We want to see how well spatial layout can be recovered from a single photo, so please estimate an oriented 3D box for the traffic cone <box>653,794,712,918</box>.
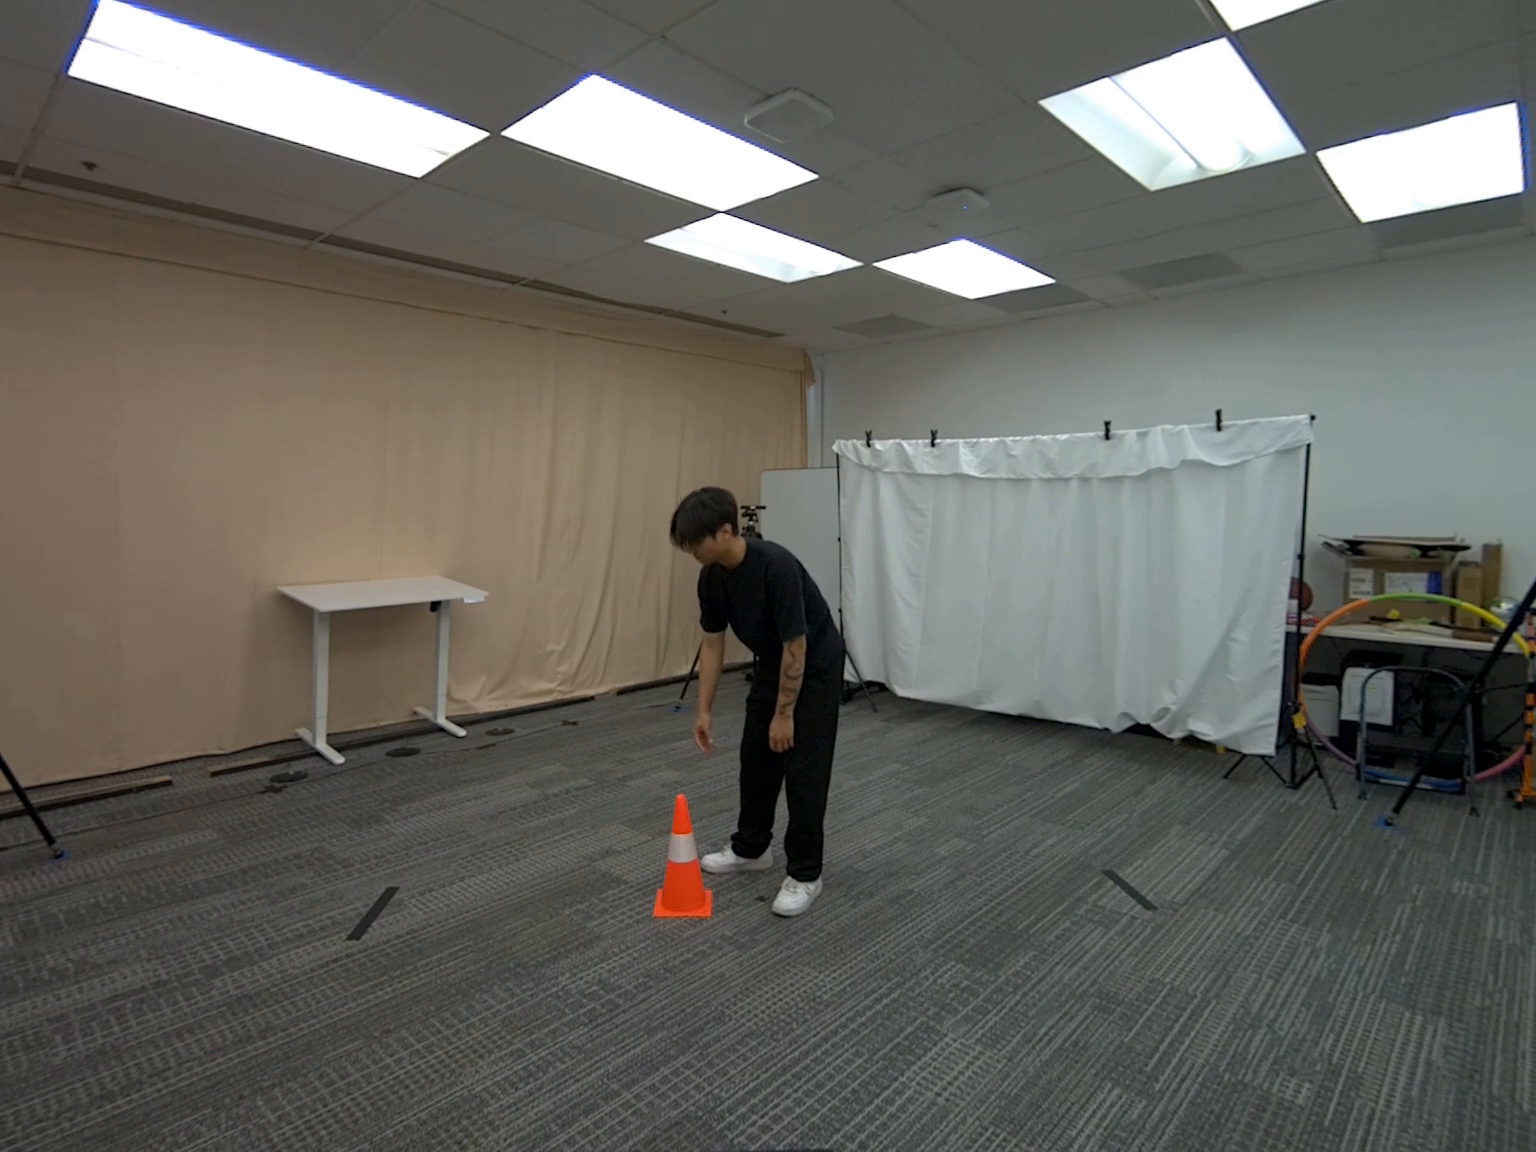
[{"bbox_3d":[-0.301,0.967,2.935,0.204,0.382,0.205,-2,5,1],"label":"traffic cone"}]
